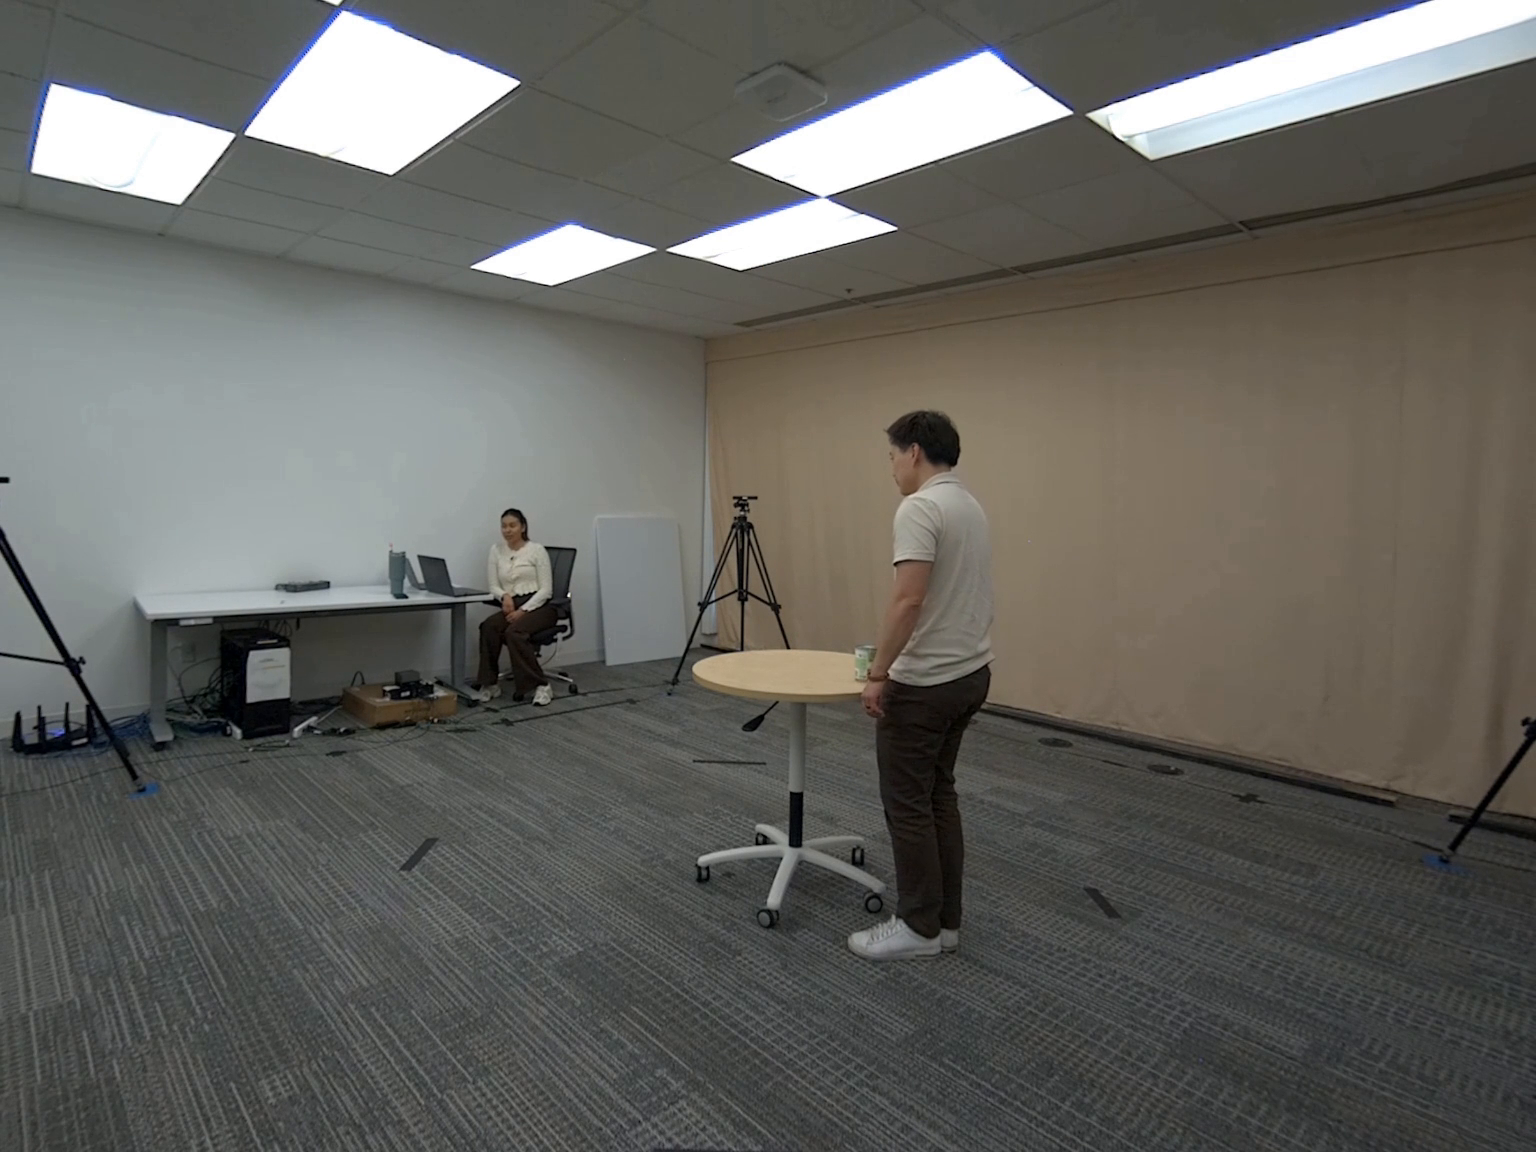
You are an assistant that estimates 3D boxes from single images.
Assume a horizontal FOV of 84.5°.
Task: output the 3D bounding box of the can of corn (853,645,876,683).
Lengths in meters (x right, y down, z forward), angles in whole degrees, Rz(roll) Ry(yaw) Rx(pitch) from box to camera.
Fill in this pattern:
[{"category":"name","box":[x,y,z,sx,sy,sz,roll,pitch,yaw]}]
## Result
[{"category":"can of corn","box":[0.345,0.300,2.831,0.074,0.110,0.074,5,6,-2]}]
